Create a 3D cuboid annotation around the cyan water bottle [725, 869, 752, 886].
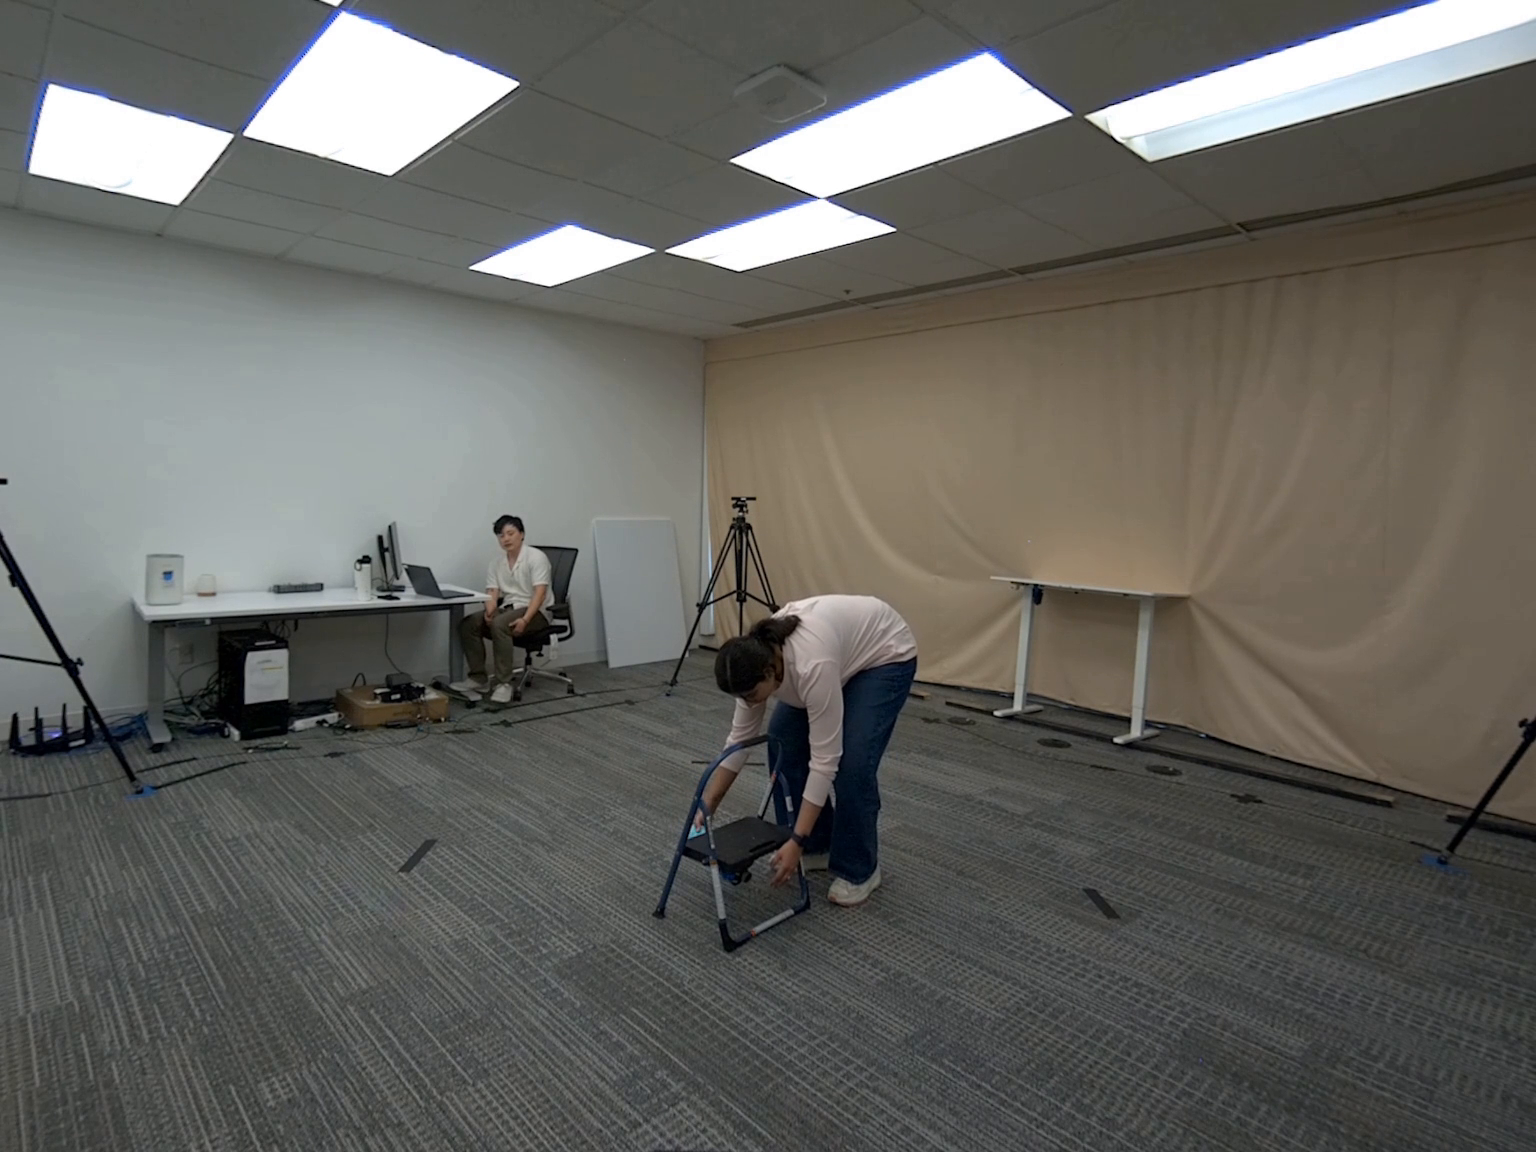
[{"bbox_3d":[-0.171,0.960,2.890,0.090,0.091,0.292,-2,17,-38],"label":"cyan water bottle"}]
